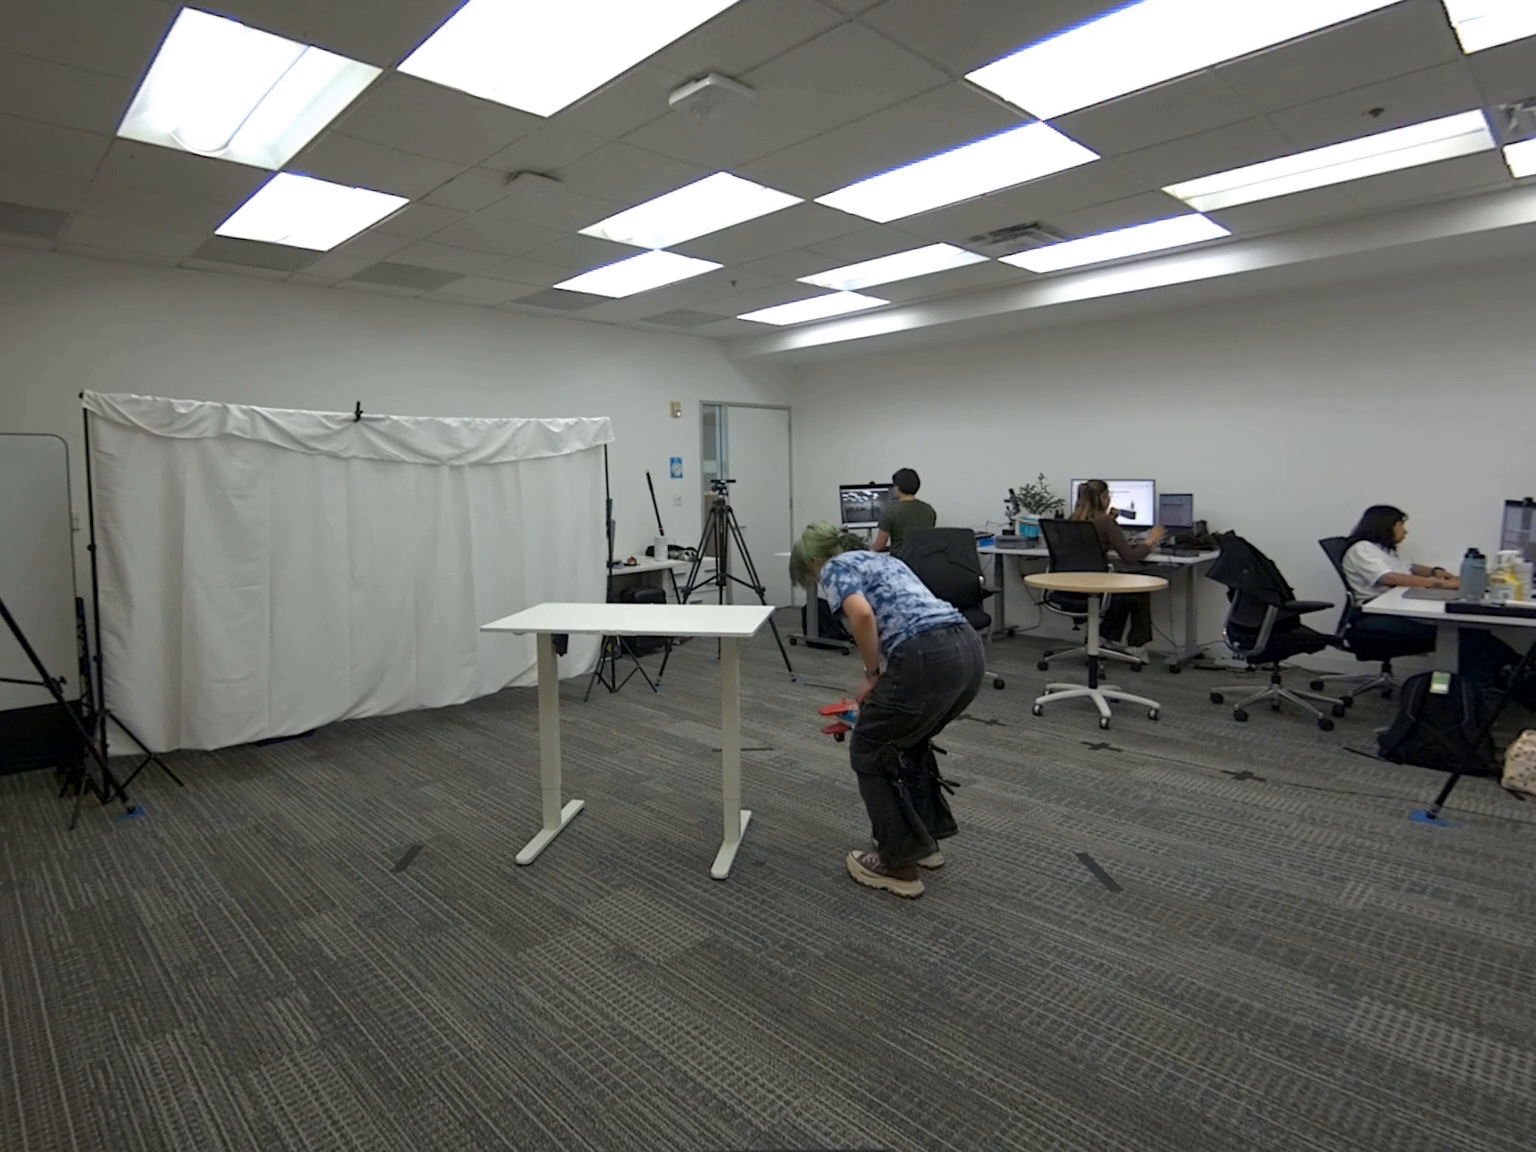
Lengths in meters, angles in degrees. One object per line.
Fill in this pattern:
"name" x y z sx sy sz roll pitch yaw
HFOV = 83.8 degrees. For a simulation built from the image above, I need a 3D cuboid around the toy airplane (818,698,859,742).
"toy airplane" 0.360 0.577 3.434 0.264 0.158 0.244 -19 -12 42
